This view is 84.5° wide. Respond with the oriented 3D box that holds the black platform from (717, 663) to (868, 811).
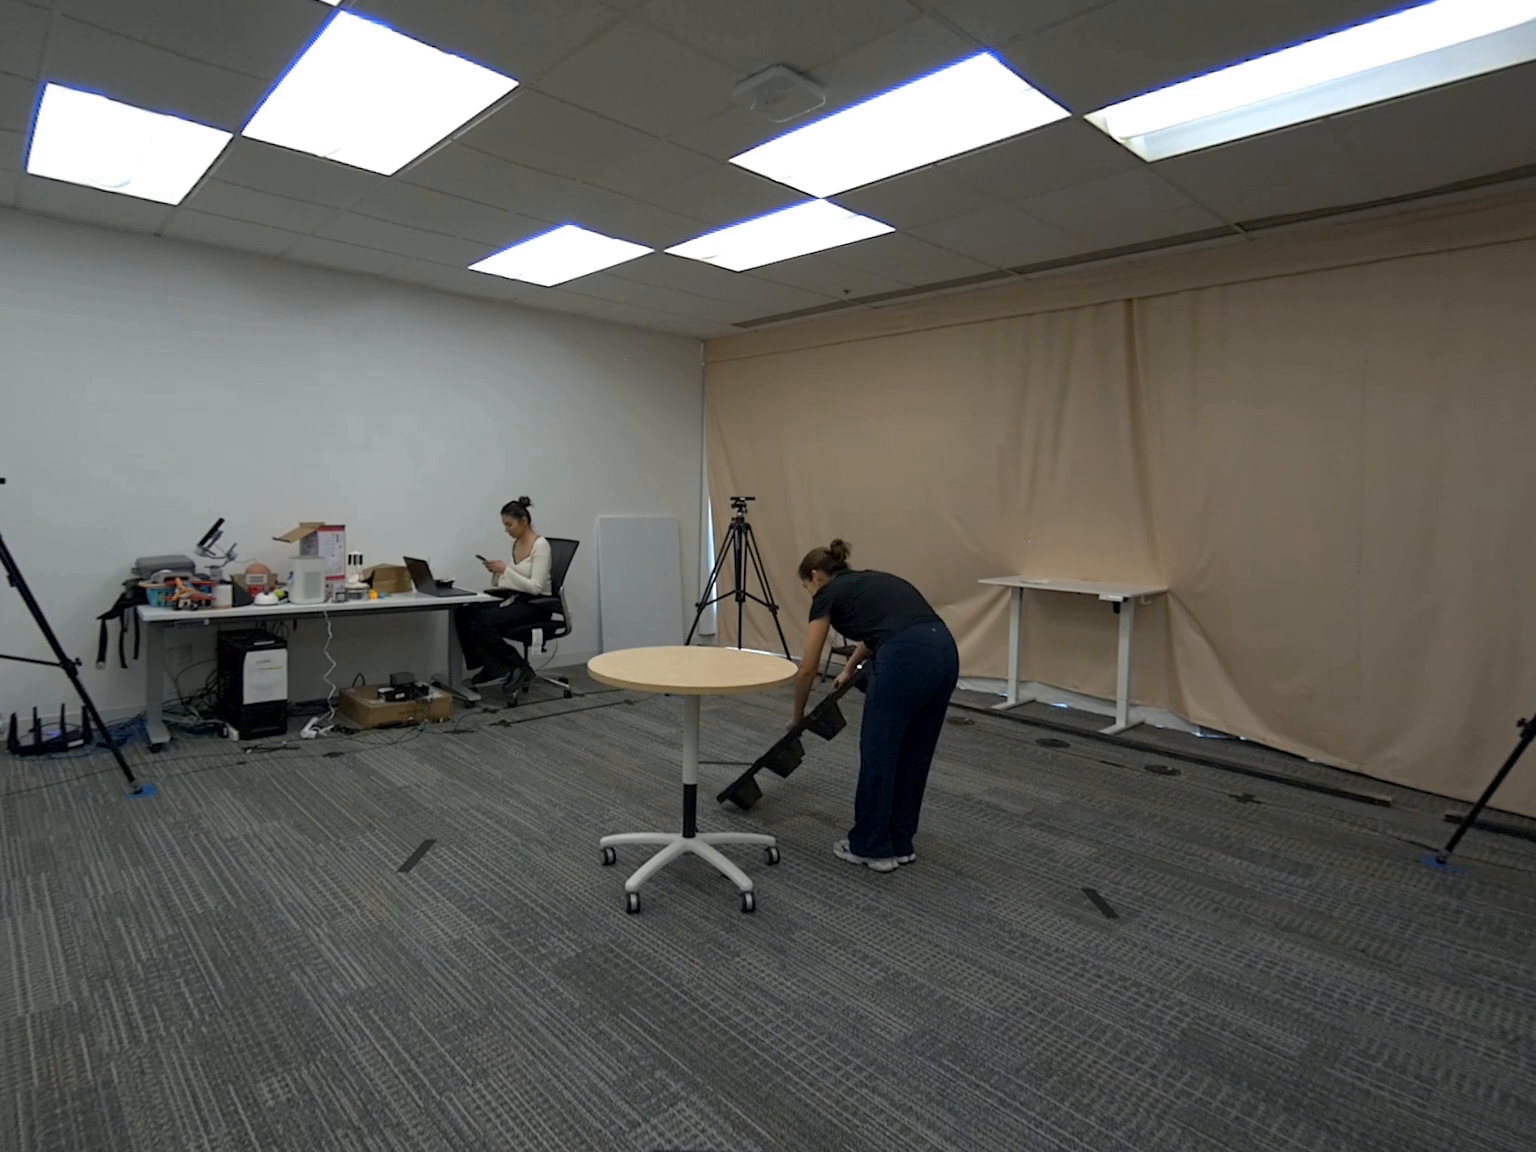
[{"bbox_3d":[0.162,0.709,3.702,0.600,0.145,0.803,-34,-12,-49],"label":"black platform"}]
